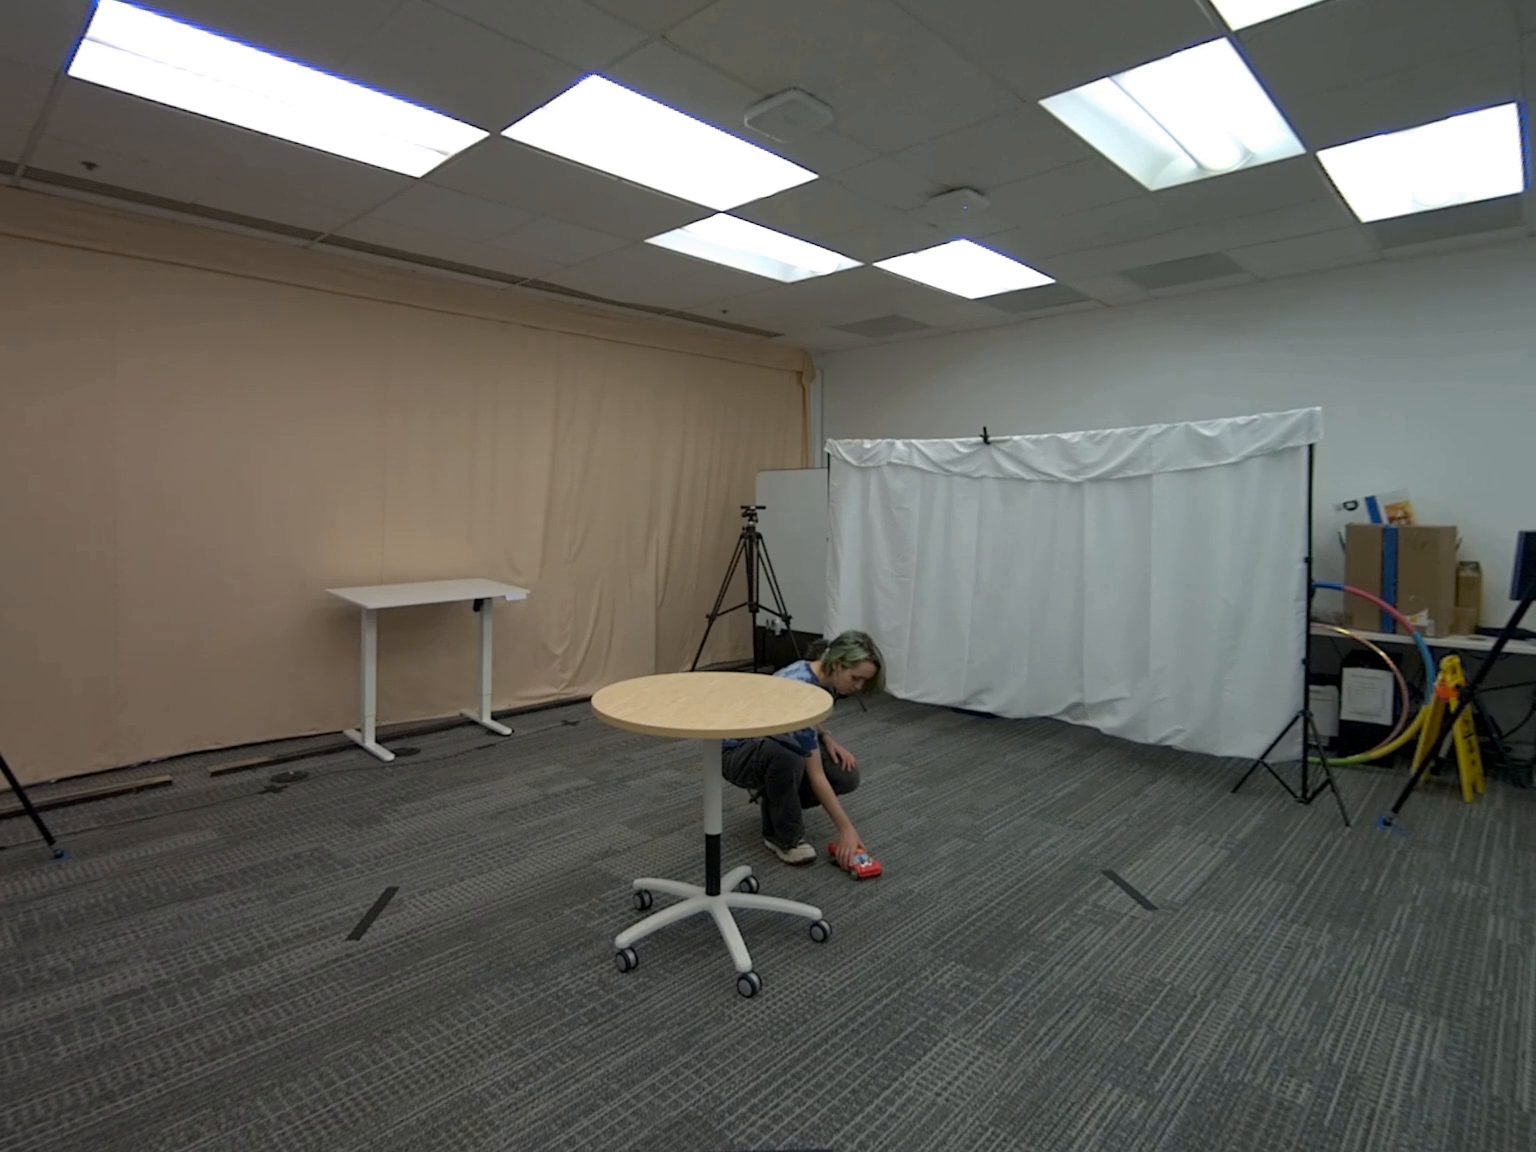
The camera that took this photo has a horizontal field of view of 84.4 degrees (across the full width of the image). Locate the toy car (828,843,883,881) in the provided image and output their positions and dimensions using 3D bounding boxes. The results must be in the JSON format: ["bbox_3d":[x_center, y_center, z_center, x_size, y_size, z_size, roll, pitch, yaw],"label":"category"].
[{"bbox_3d":[0.327,1.089,3.231,0.127,0.082,0.262,-3,14,-24],"label":"toy car"}]
